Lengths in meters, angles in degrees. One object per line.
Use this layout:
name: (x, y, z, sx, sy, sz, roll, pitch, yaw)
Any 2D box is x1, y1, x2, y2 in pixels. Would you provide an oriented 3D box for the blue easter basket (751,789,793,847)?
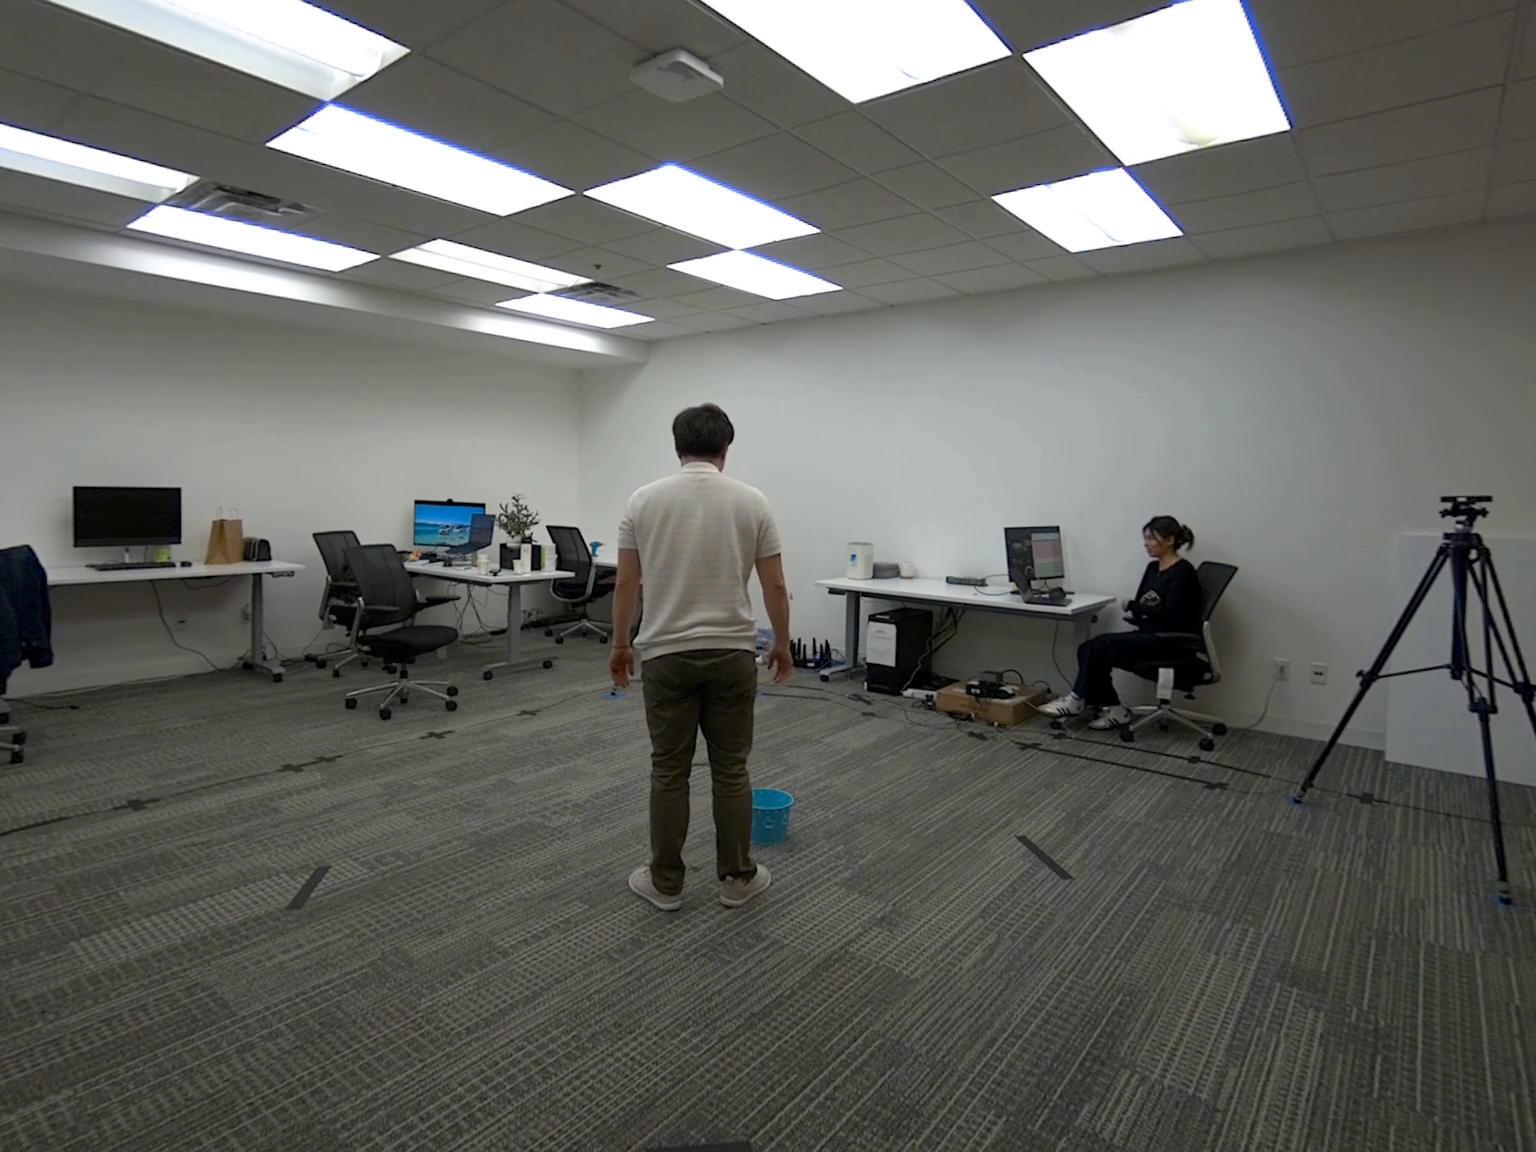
blue easter basket: (-0.026, 0.960, 3.422, 0.243, 0.155, 0.245, 2, 5, -2)
